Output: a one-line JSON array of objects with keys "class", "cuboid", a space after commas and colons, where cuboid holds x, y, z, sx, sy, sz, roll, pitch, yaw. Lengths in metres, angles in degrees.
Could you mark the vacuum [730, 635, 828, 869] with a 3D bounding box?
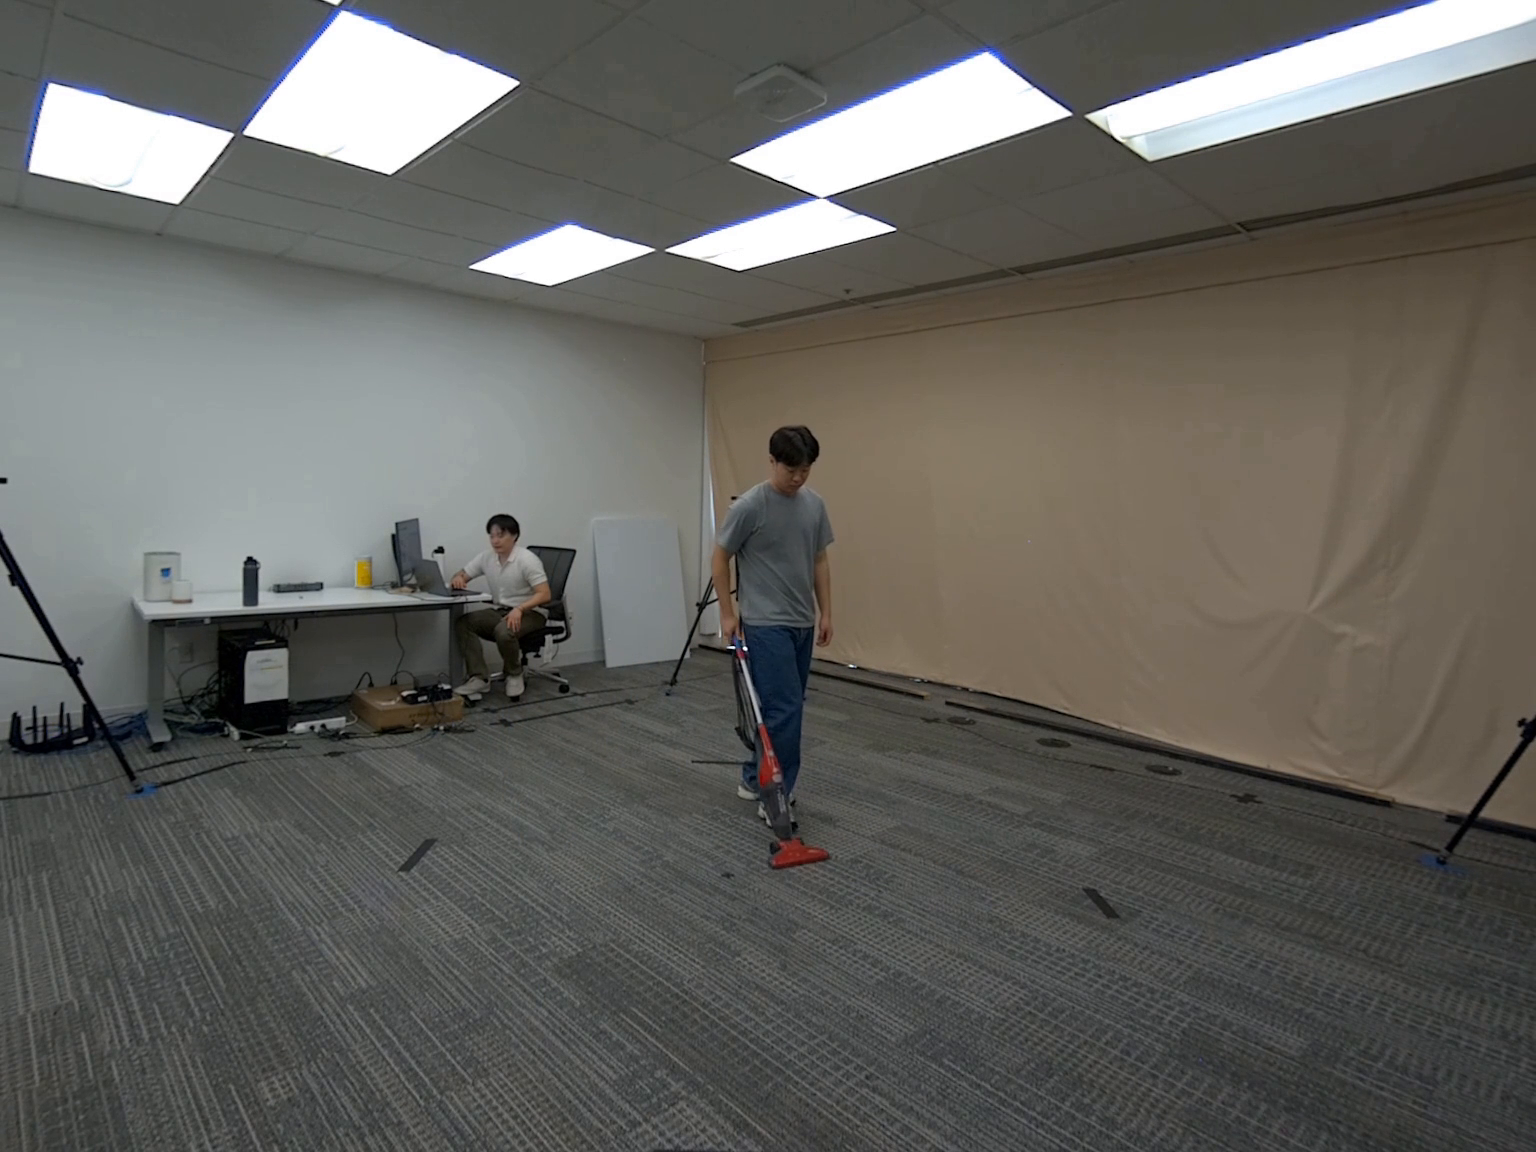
[{"class": "vacuum", "cuboid": [-0.047, 0.650, 3.507, 0.247, 1.074, 0.143, -1, -32, -30]}]
